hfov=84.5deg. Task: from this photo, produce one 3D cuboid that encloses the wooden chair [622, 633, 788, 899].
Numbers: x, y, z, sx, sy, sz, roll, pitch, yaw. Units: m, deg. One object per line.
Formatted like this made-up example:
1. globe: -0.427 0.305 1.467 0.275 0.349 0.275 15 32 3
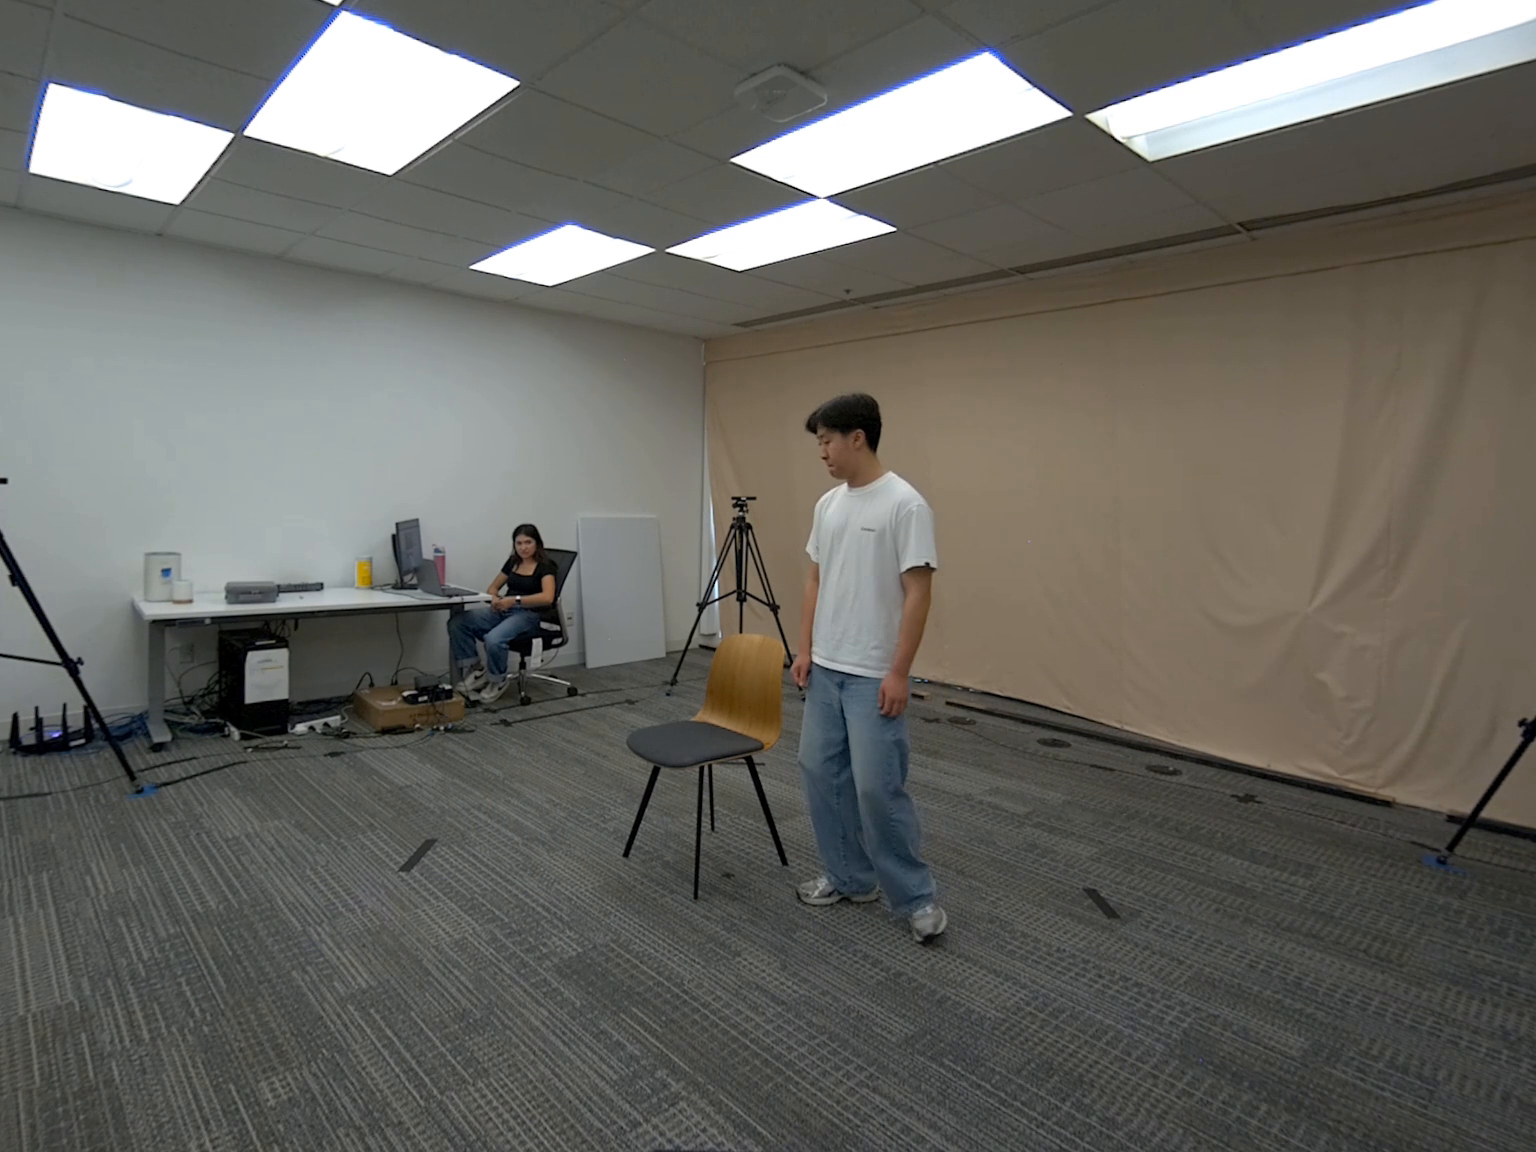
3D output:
1. wooden chair: -0.243 0.671 3.192 0.510 0.877 0.490 4 1 -42
